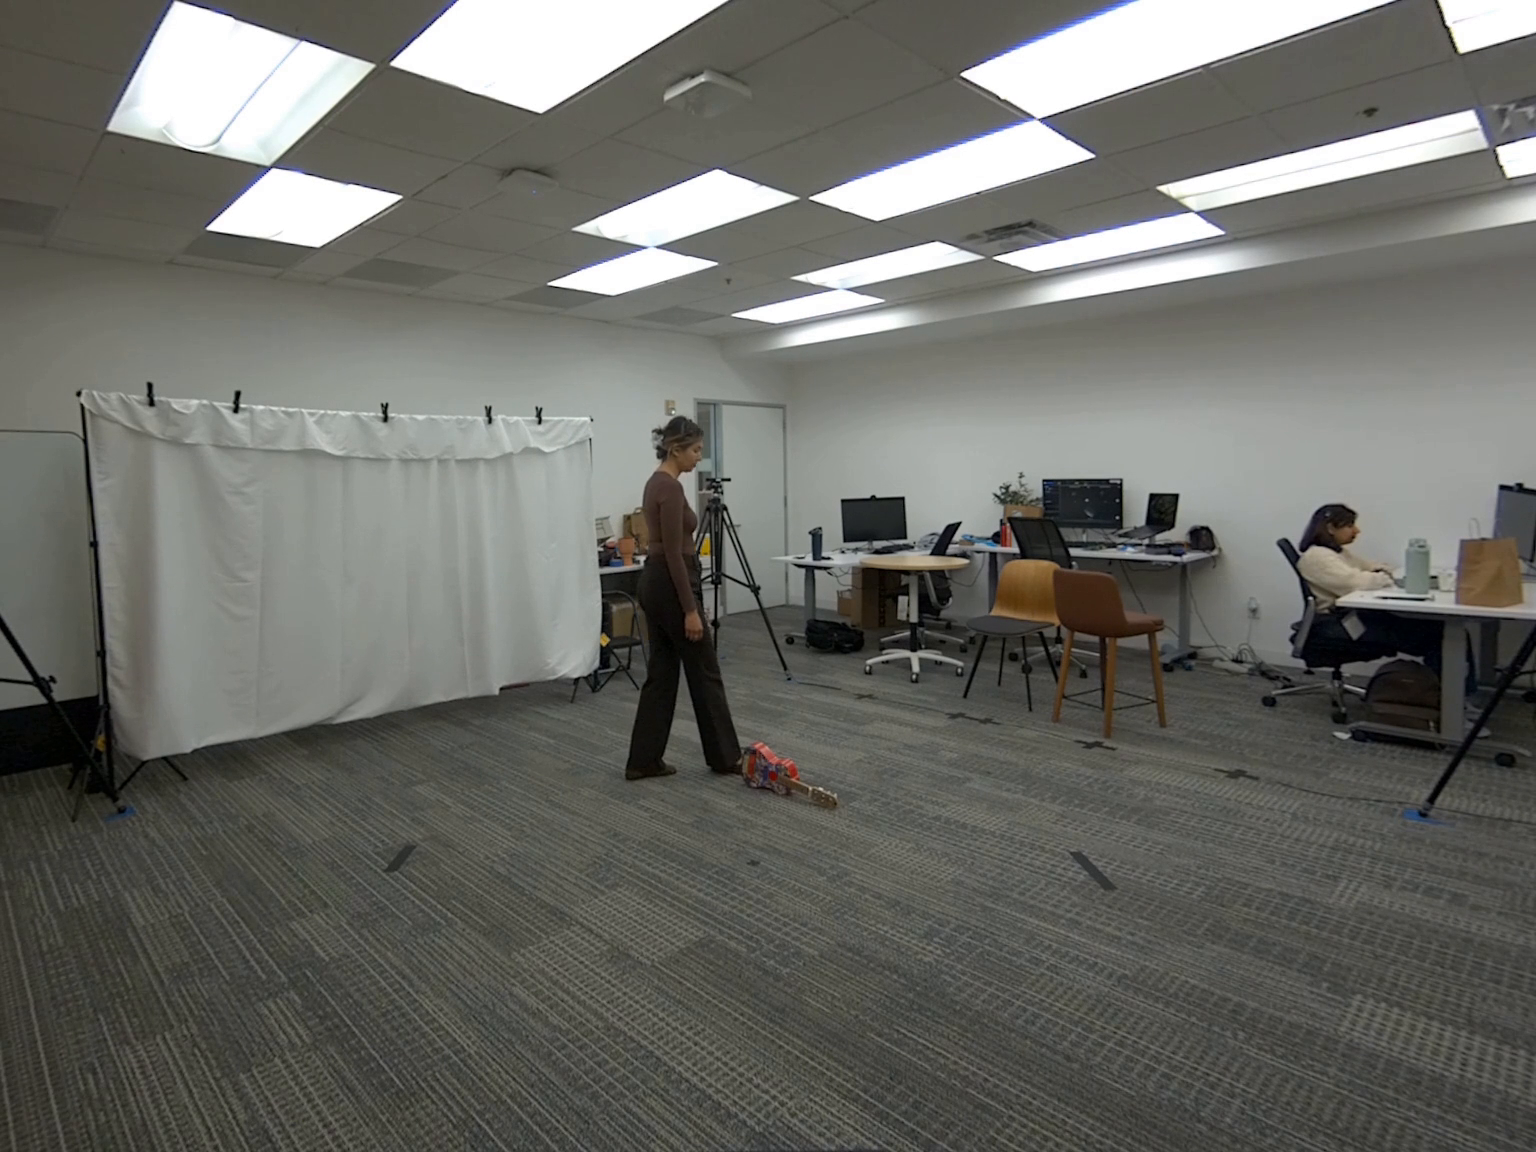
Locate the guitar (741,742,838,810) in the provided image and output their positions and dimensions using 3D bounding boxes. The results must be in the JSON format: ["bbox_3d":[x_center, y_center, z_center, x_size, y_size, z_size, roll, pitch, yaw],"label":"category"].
[{"bbox_3d":[0.093,0.924,3.767,0.515,0.191,0.069,25,20,33],"label":"guitar"}]
